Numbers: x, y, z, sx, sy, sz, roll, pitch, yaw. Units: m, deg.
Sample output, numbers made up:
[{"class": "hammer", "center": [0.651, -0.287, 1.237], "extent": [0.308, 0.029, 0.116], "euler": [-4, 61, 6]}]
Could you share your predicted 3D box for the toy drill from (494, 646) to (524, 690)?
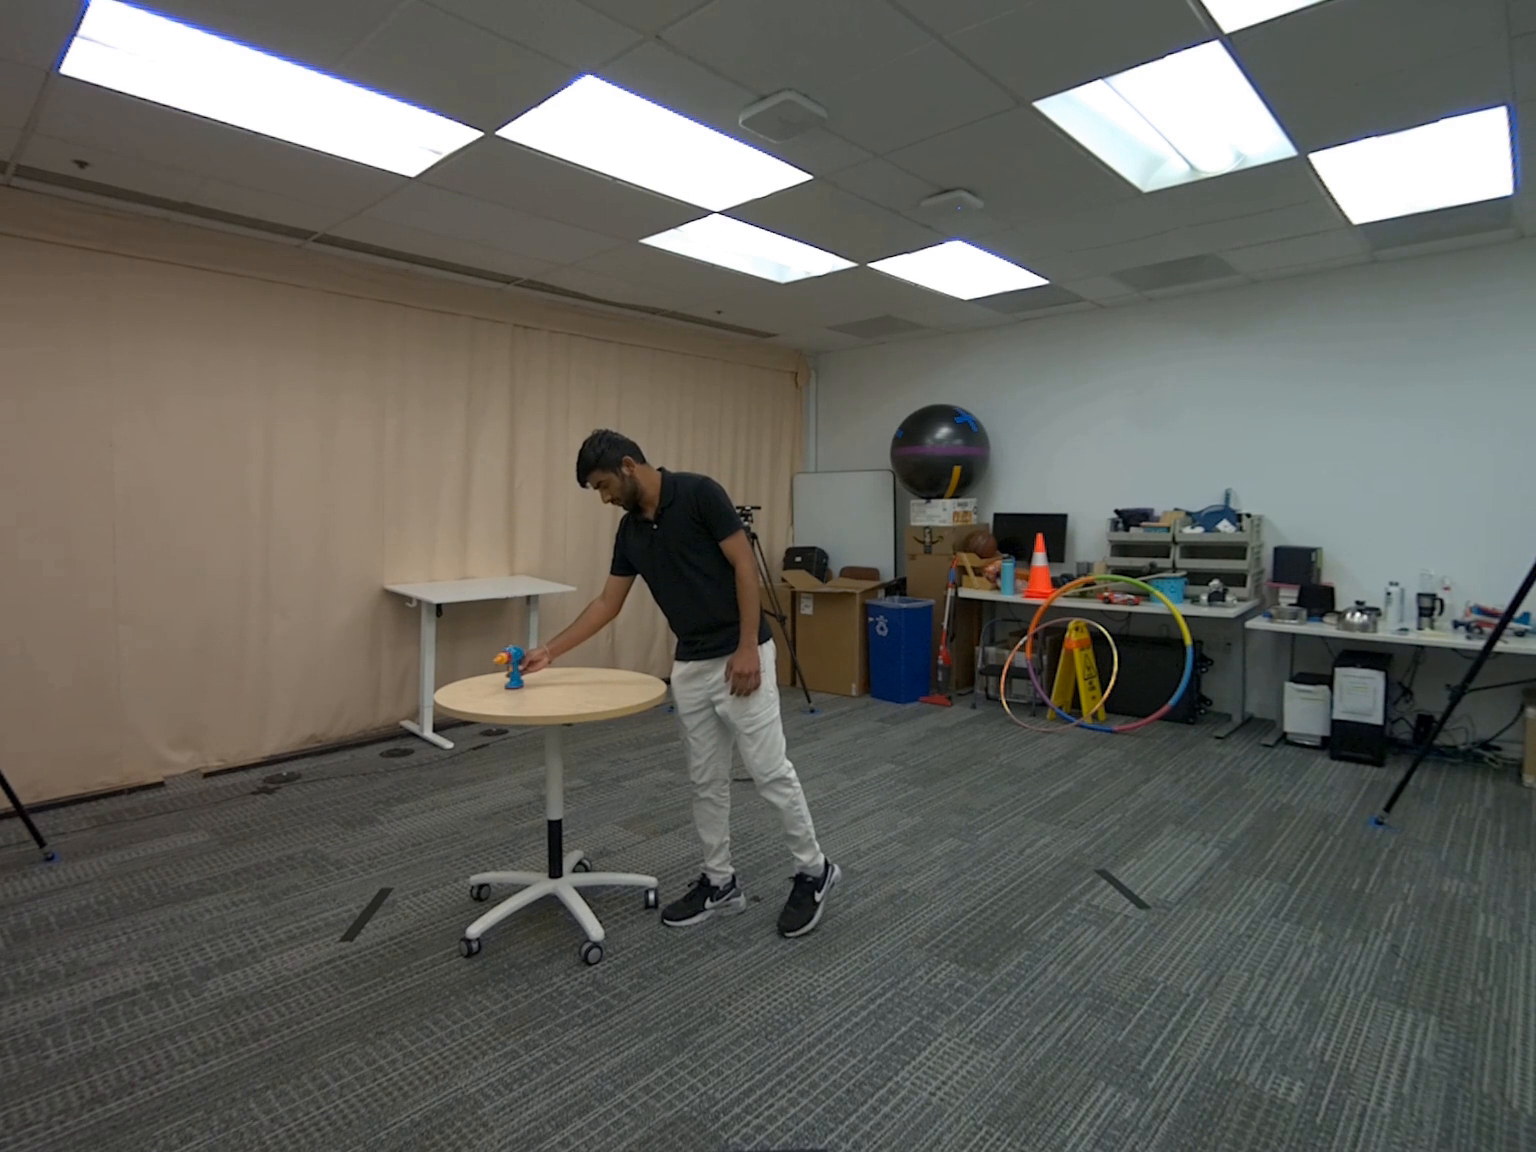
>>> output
[{"class": "toy drill", "center": [-0.866, 0.310, 2.808], "extent": [0.062, 0.146, 0.167], "euler": [1, 3, 14]}]
